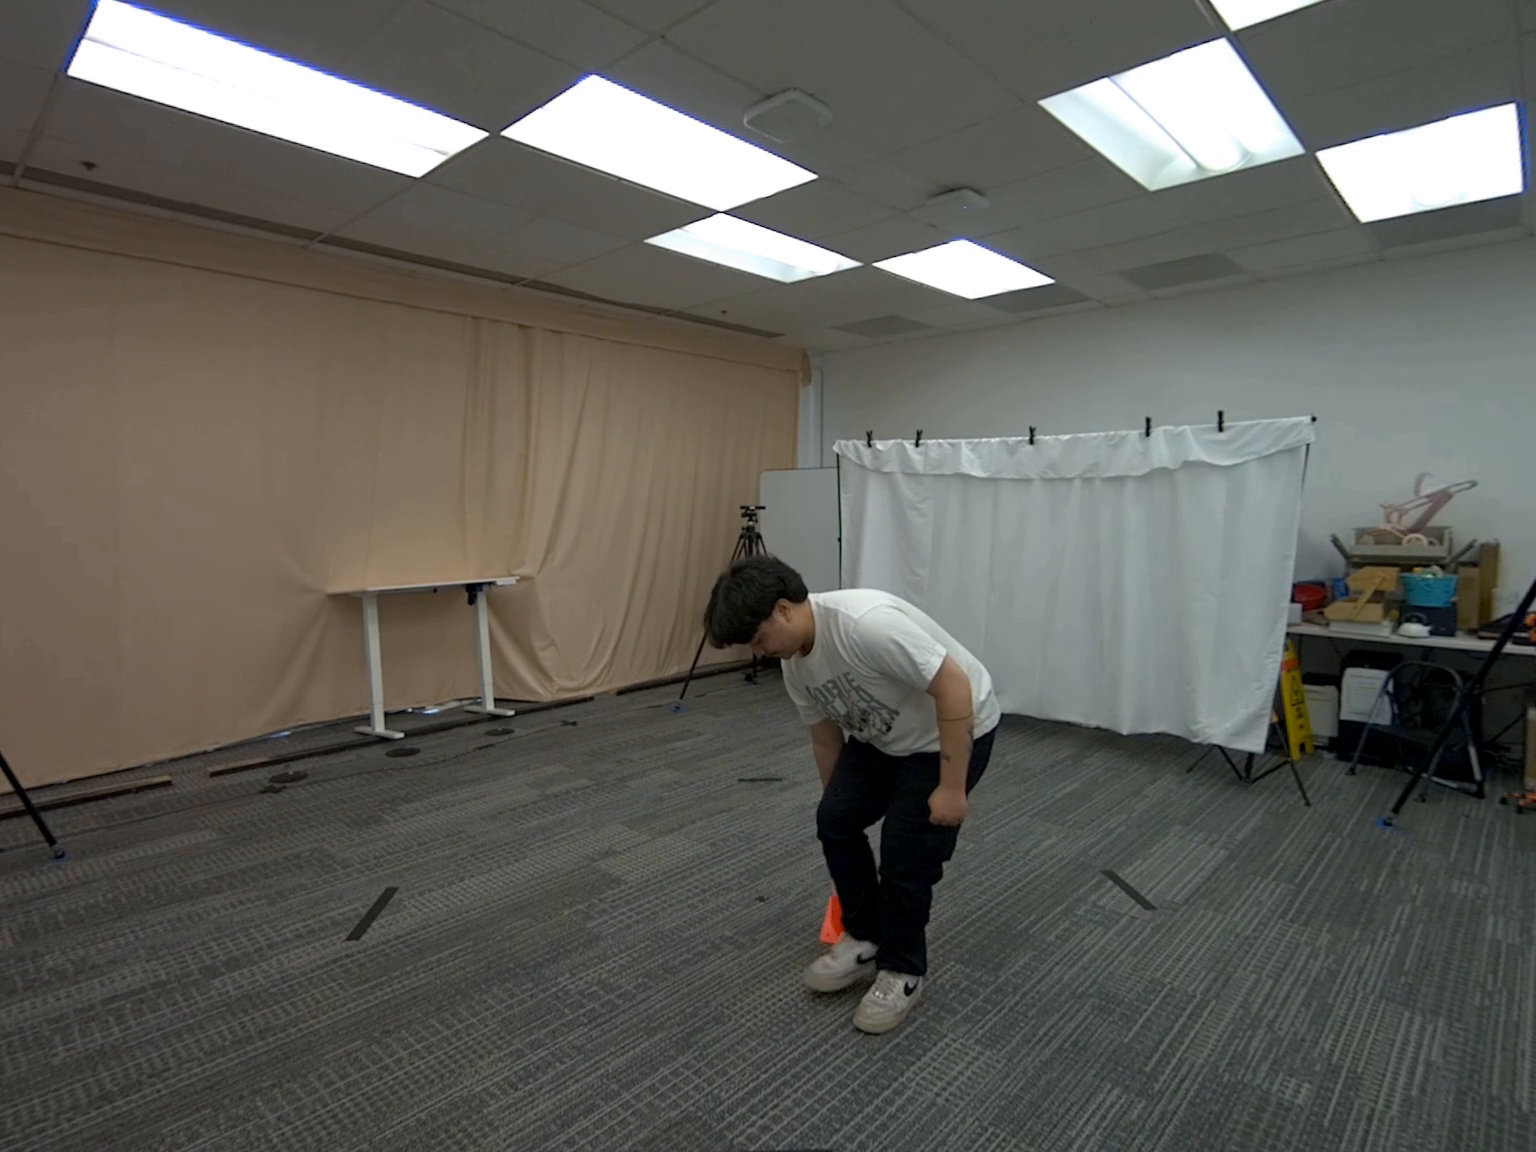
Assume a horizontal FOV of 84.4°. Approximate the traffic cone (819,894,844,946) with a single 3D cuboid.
[{"bbox_3d":[0.254,0.966,2.637,0.210,0.375,0.203,-1,32,24],"label":"traffic cone"}]
